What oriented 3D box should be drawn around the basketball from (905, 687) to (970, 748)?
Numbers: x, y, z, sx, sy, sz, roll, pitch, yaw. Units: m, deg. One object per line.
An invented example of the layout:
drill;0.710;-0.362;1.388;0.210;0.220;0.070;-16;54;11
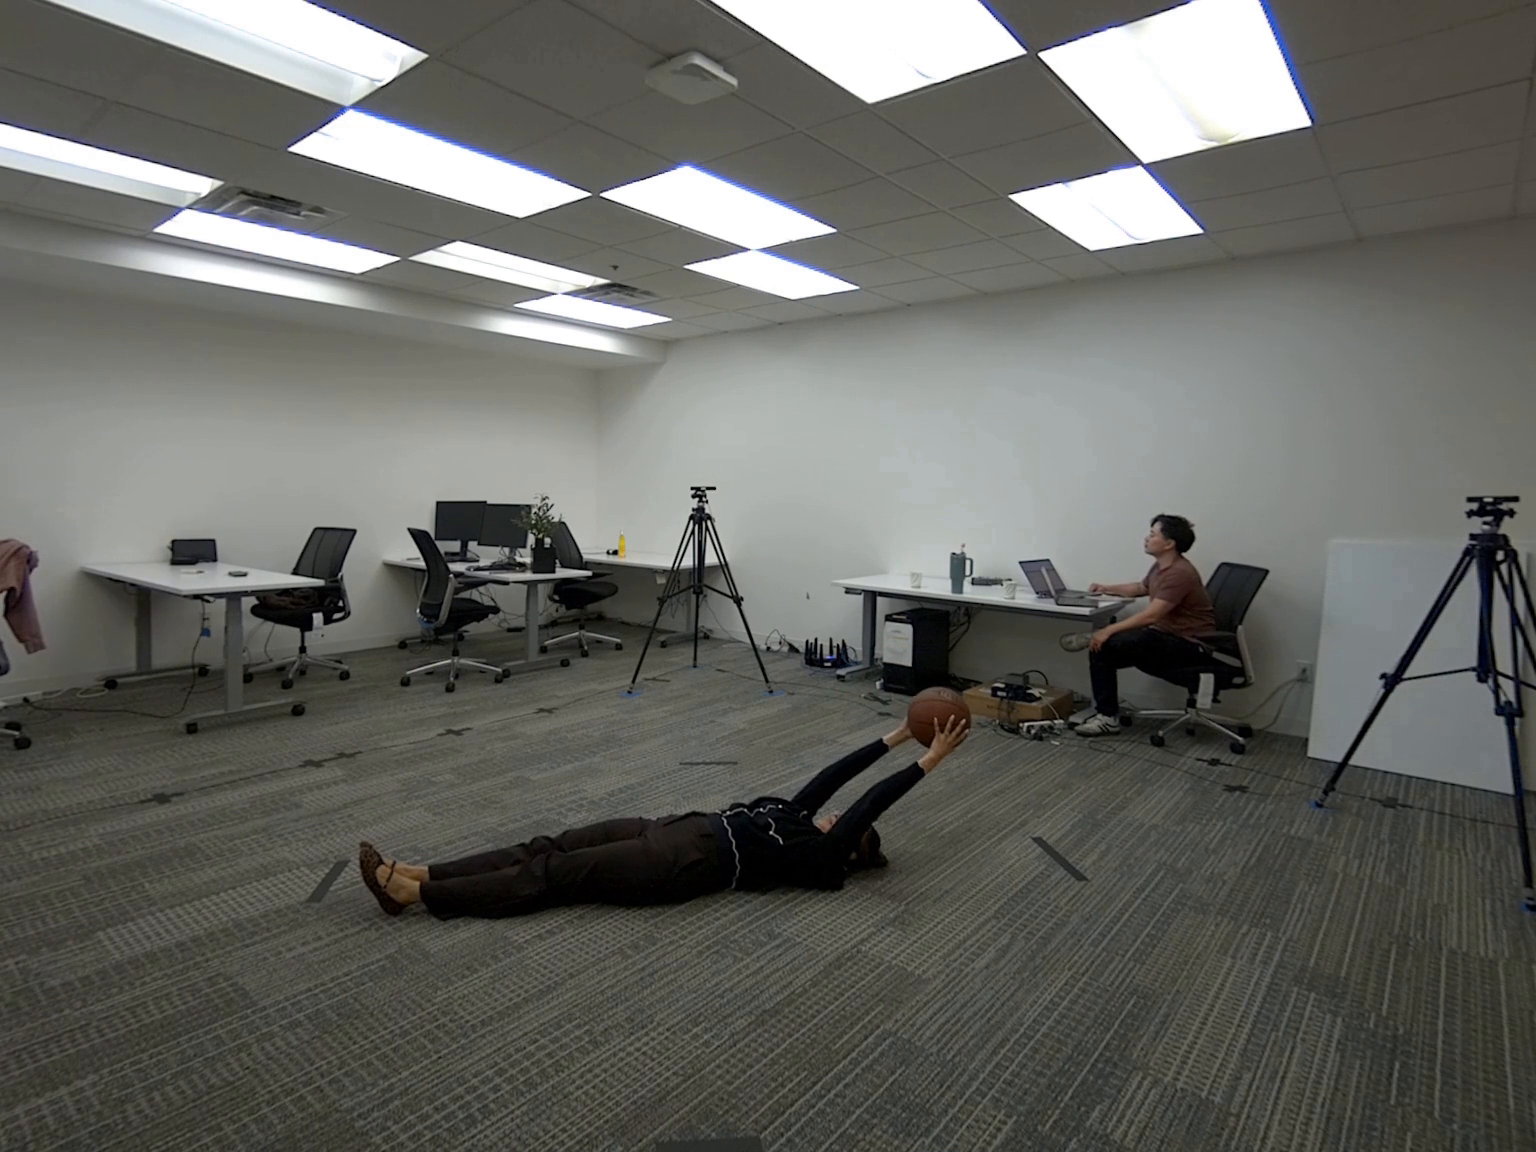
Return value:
basketball;0.640;0.536;3.240;0.236;0.235;0.237;1;4;-2
